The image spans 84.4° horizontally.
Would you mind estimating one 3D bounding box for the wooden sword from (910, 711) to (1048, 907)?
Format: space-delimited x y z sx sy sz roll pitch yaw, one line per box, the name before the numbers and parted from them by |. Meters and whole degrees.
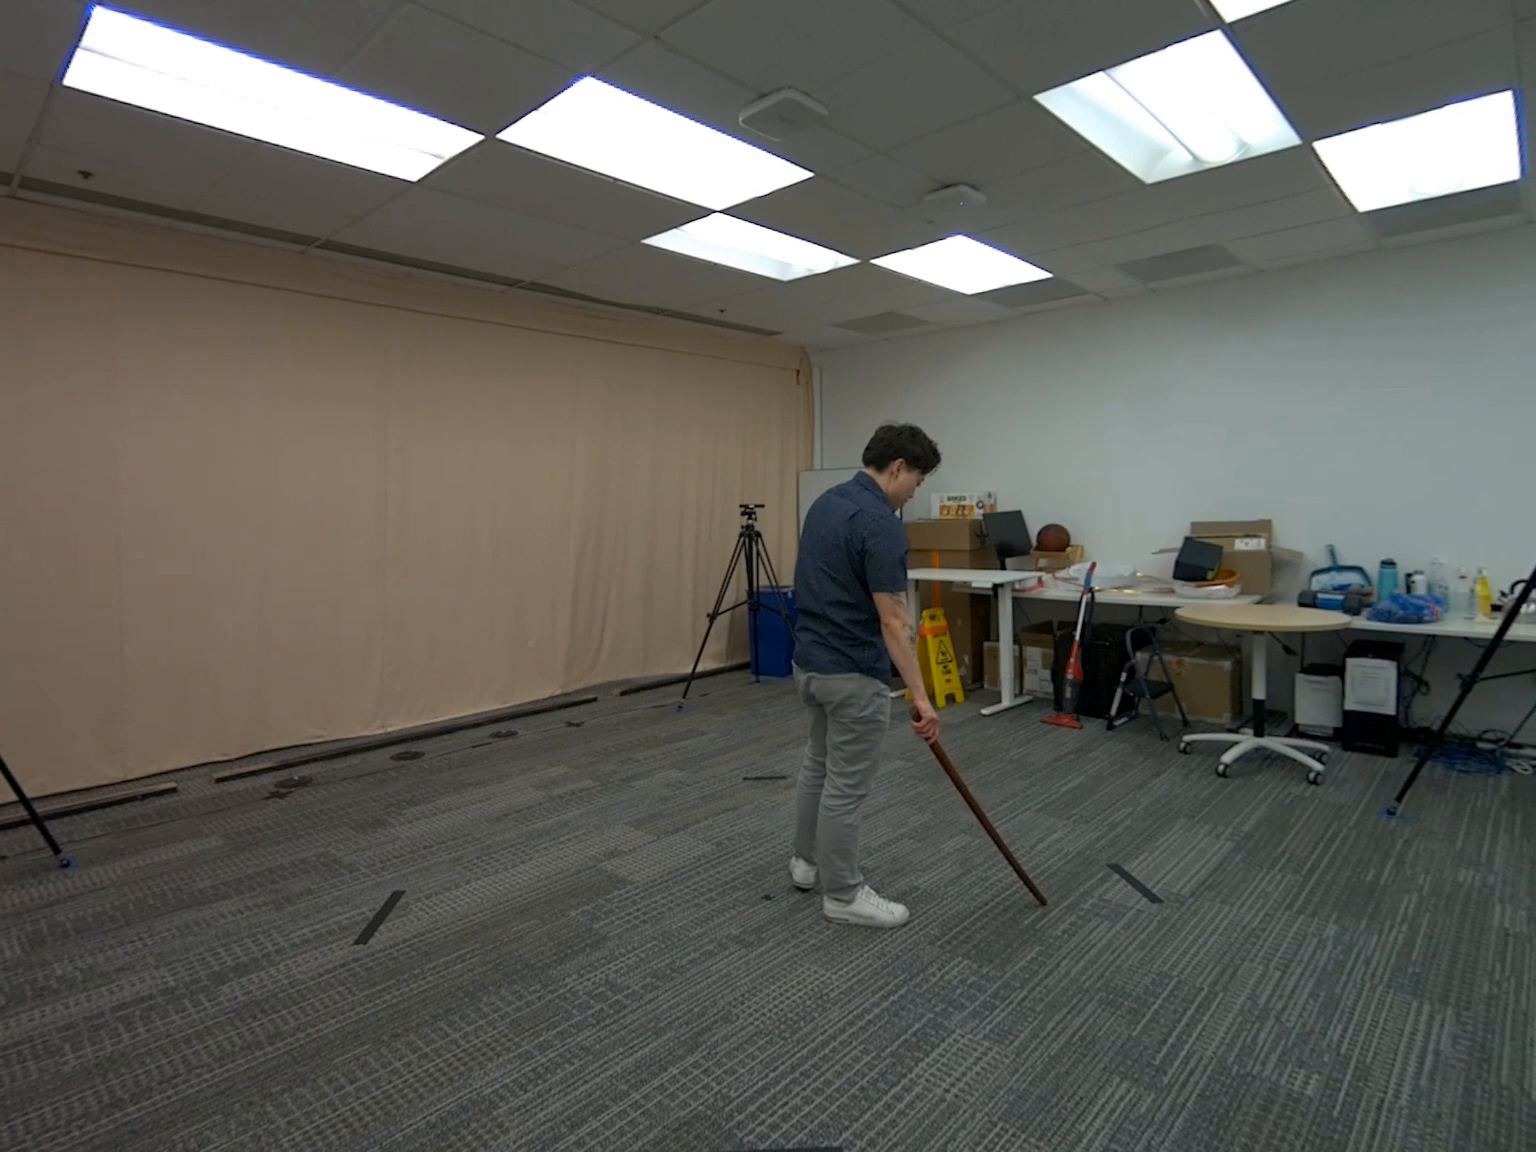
wooden sword | 0.693 0.782 2.674 0.053 0.996 0.024 4 48 51
